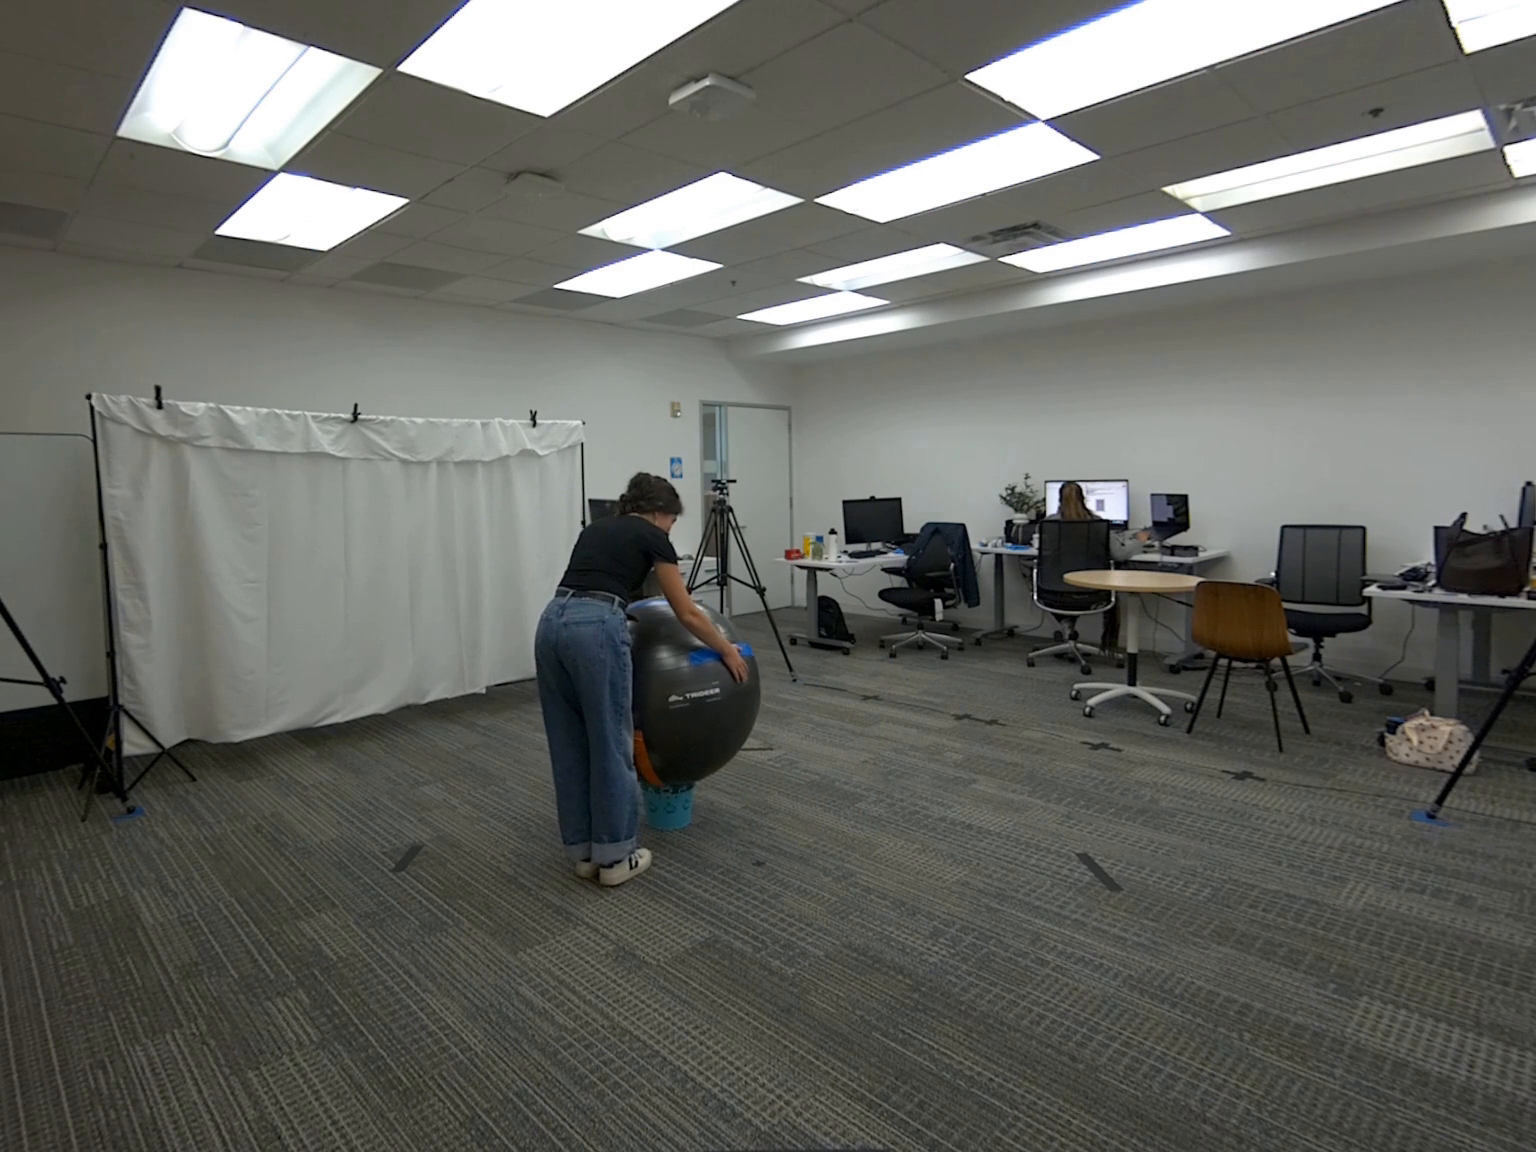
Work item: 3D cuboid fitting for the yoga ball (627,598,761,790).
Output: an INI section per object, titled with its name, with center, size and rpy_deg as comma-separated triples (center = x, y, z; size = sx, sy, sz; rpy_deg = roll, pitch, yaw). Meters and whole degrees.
[yoga ball]
center = -0.407, 0.465, 3.482
size = 0.757, 0.755, 0.762
rpy_deg = -1, 5, -2
